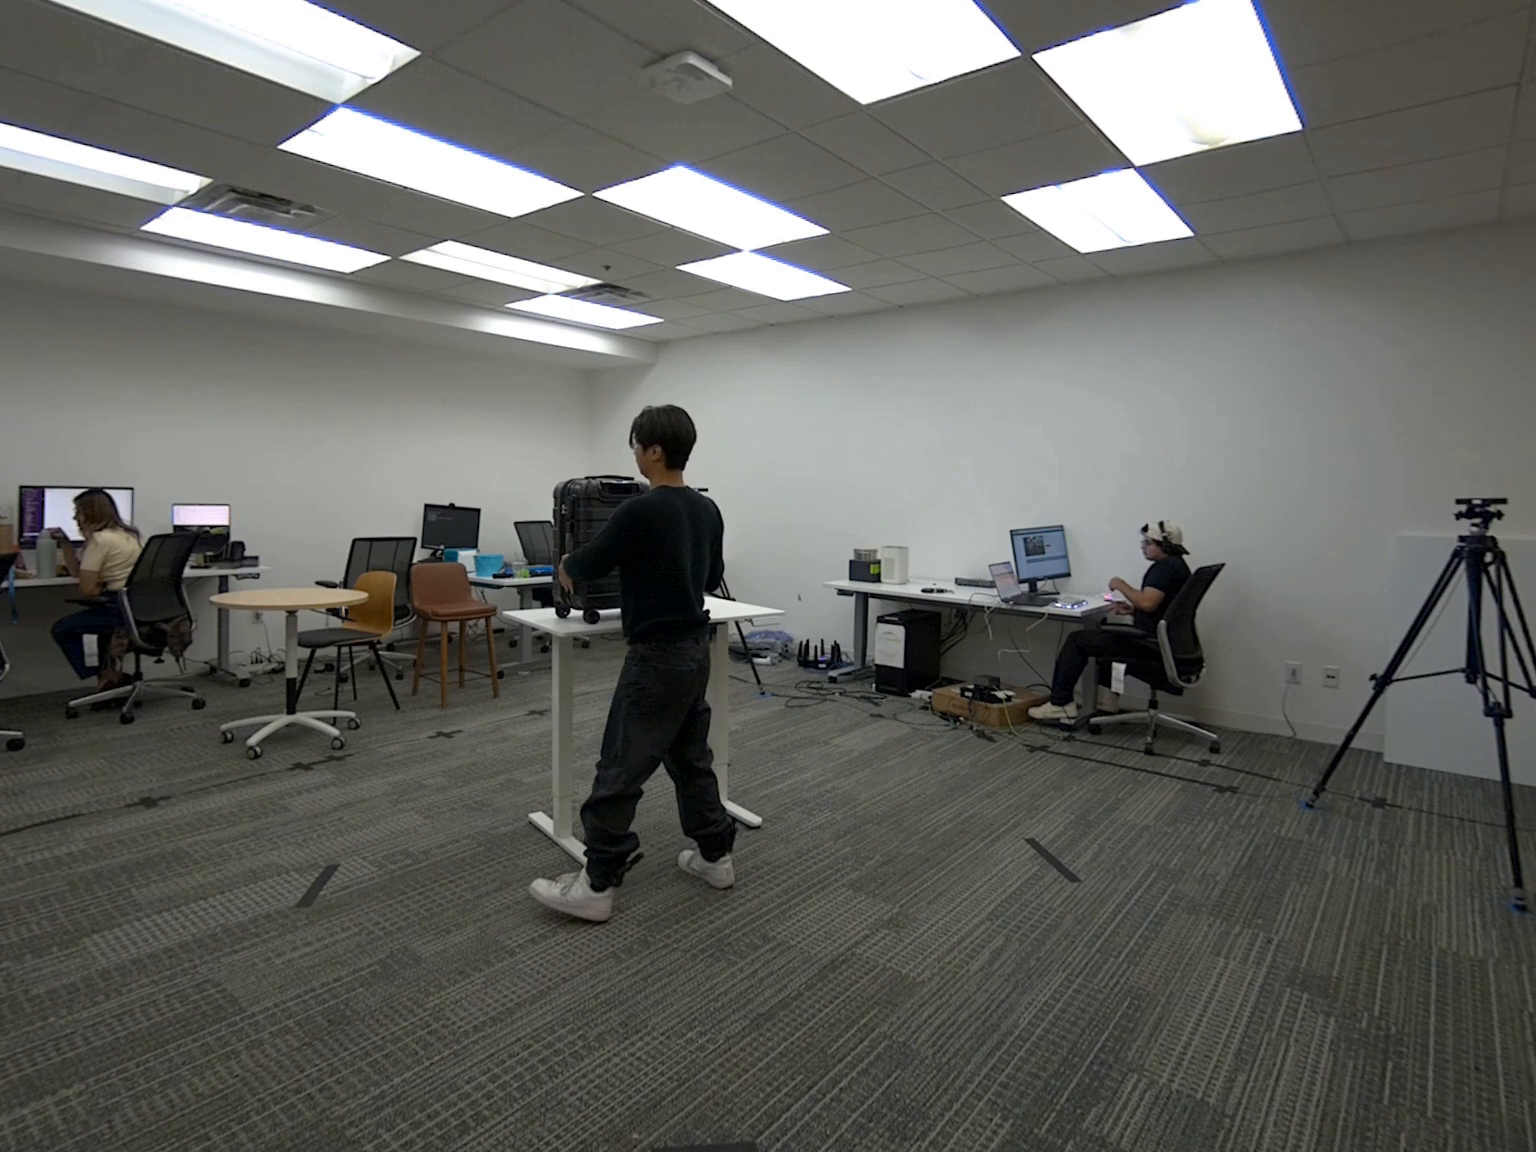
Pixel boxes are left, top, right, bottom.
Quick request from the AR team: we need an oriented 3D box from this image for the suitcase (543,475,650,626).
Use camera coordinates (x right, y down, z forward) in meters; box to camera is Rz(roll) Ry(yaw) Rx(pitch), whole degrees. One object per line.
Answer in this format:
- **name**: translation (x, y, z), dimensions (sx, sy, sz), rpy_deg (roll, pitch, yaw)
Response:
- **suitcase**: translation (-0.646, -0.115, 3.308), dimensions (0.364, 0.547, 0.256), rpy_deg (-5, 5, -42)
